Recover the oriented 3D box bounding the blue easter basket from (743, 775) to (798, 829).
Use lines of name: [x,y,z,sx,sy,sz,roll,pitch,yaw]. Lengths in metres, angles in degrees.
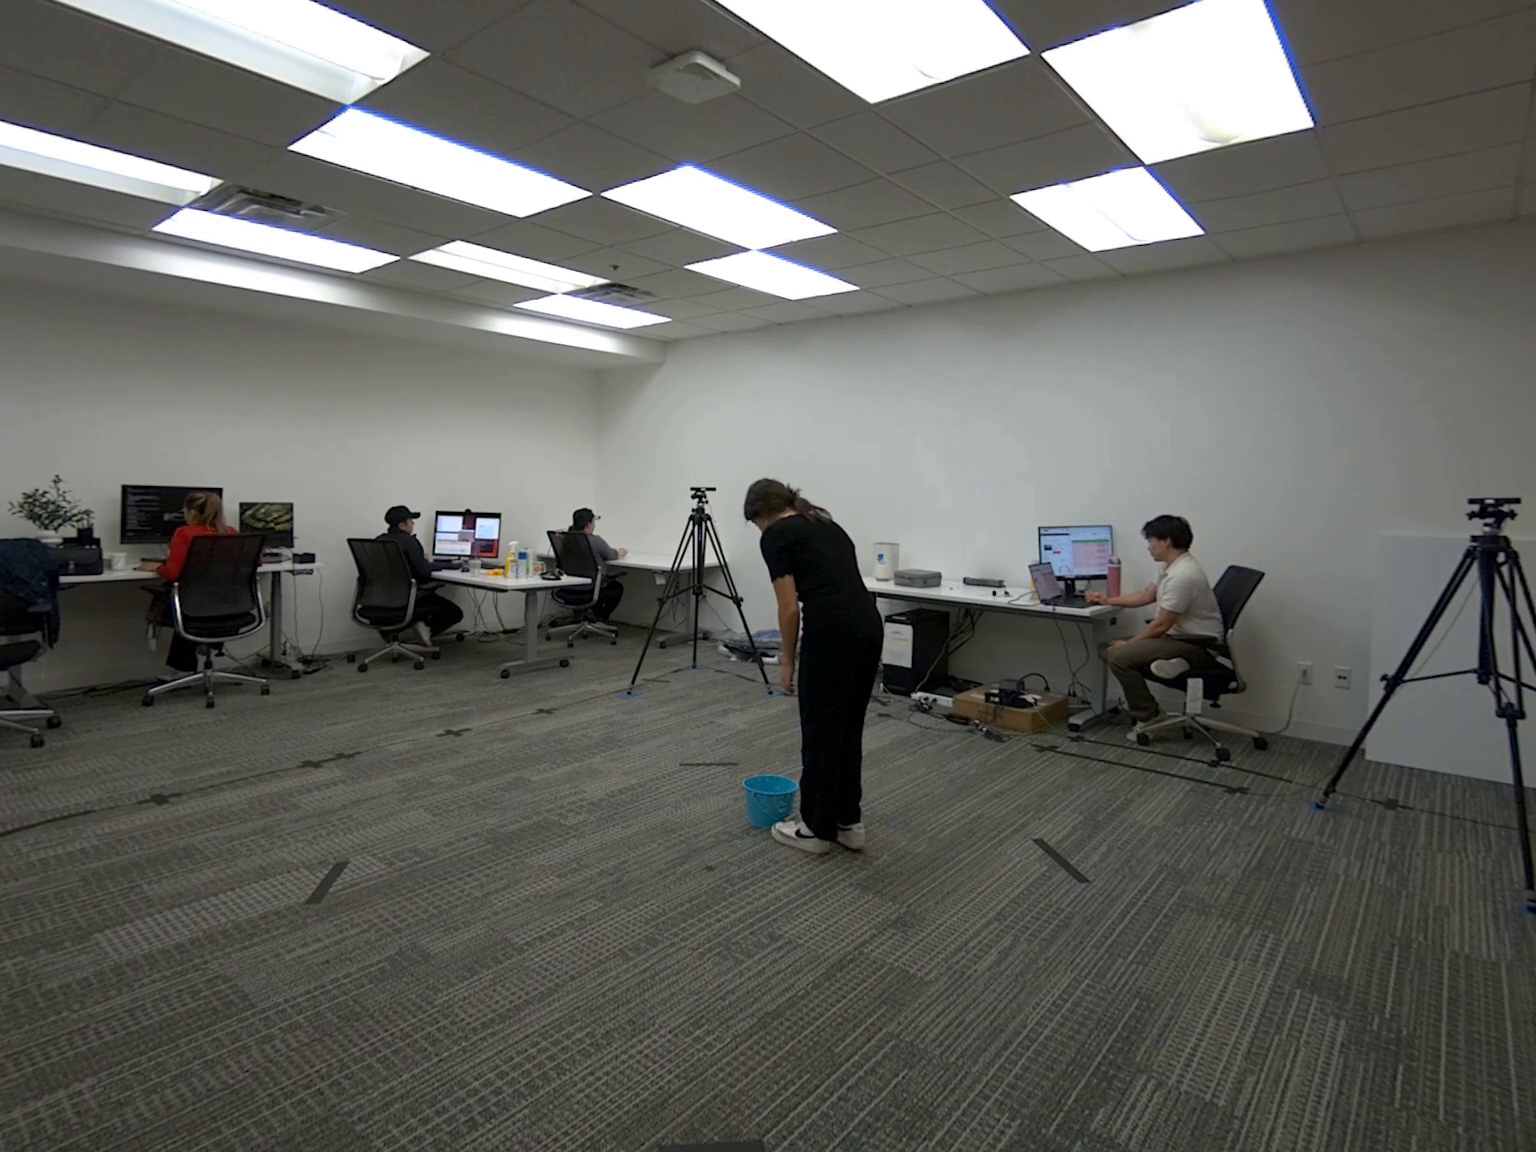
blue easter basket: [-0.002,0.943,3.573,0.243,0.155,0.245,1,5,-2]
